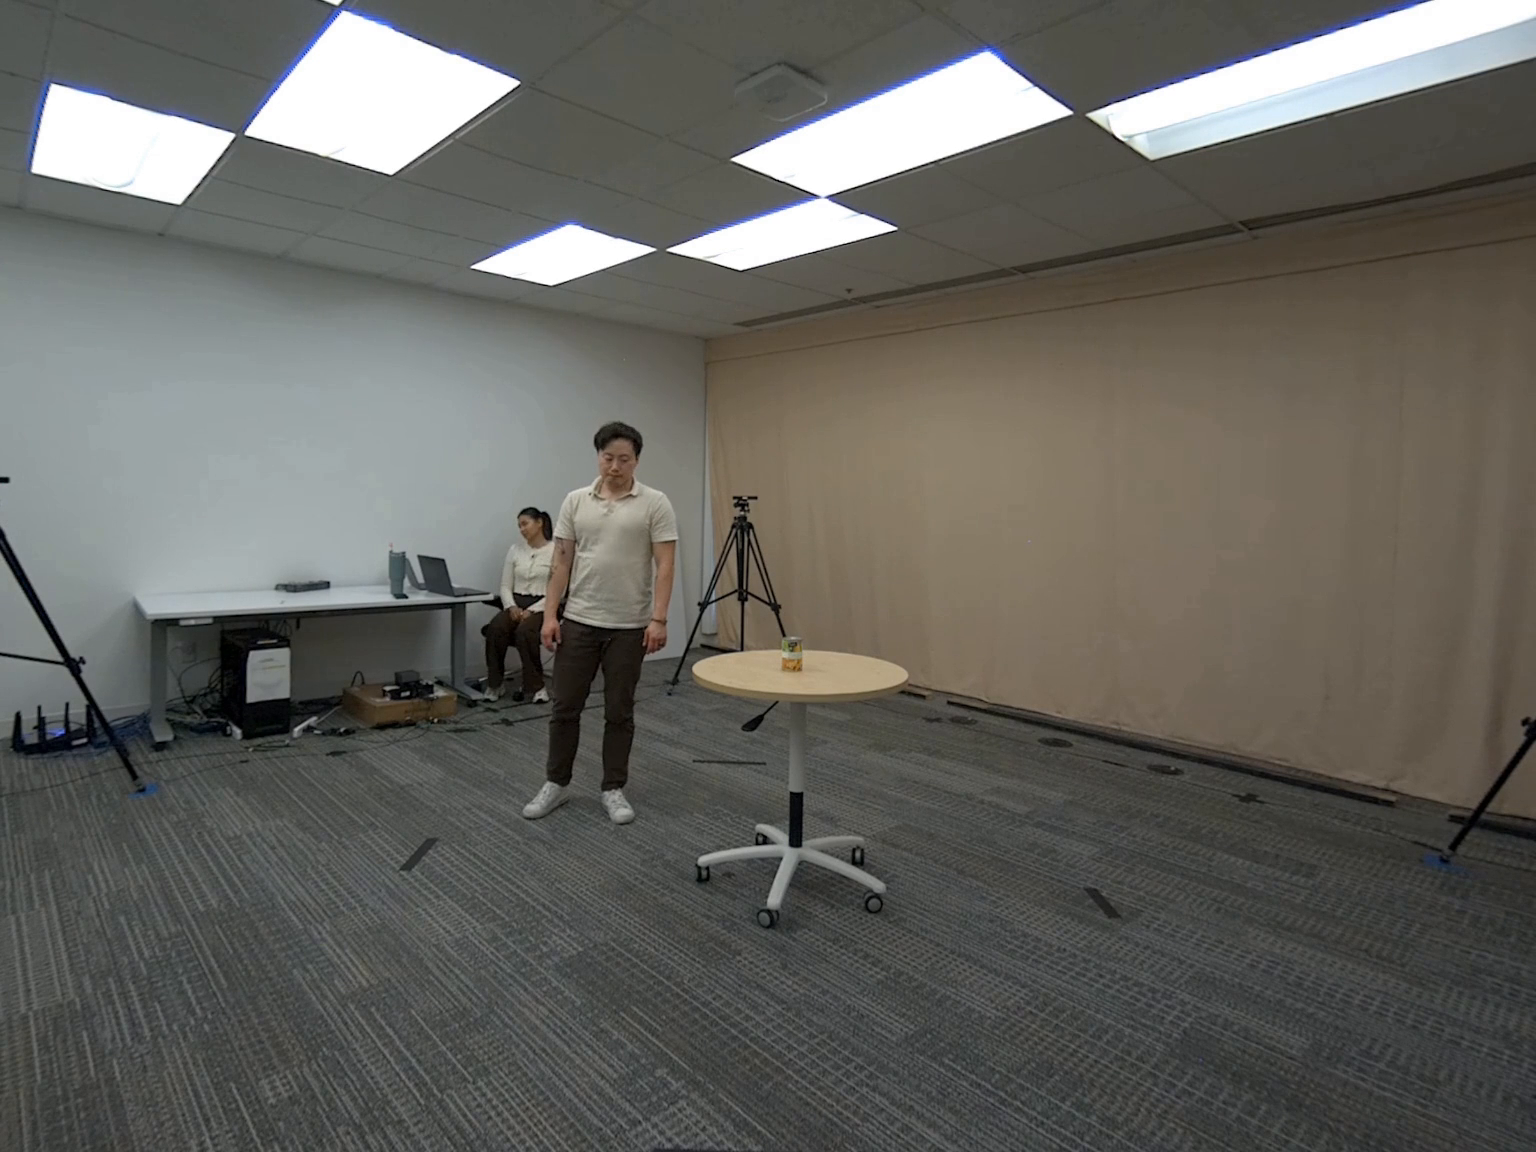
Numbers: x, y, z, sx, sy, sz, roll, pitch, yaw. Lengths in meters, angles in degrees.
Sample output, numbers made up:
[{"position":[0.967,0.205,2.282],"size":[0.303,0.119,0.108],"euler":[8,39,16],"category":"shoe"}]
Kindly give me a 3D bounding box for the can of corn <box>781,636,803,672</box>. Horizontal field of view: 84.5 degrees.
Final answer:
[{"position":[0.081,0.276,2.992],"size":[0.074,0.111,0.074],"euler":[2,5,-2],"category":"can of corn"}]
